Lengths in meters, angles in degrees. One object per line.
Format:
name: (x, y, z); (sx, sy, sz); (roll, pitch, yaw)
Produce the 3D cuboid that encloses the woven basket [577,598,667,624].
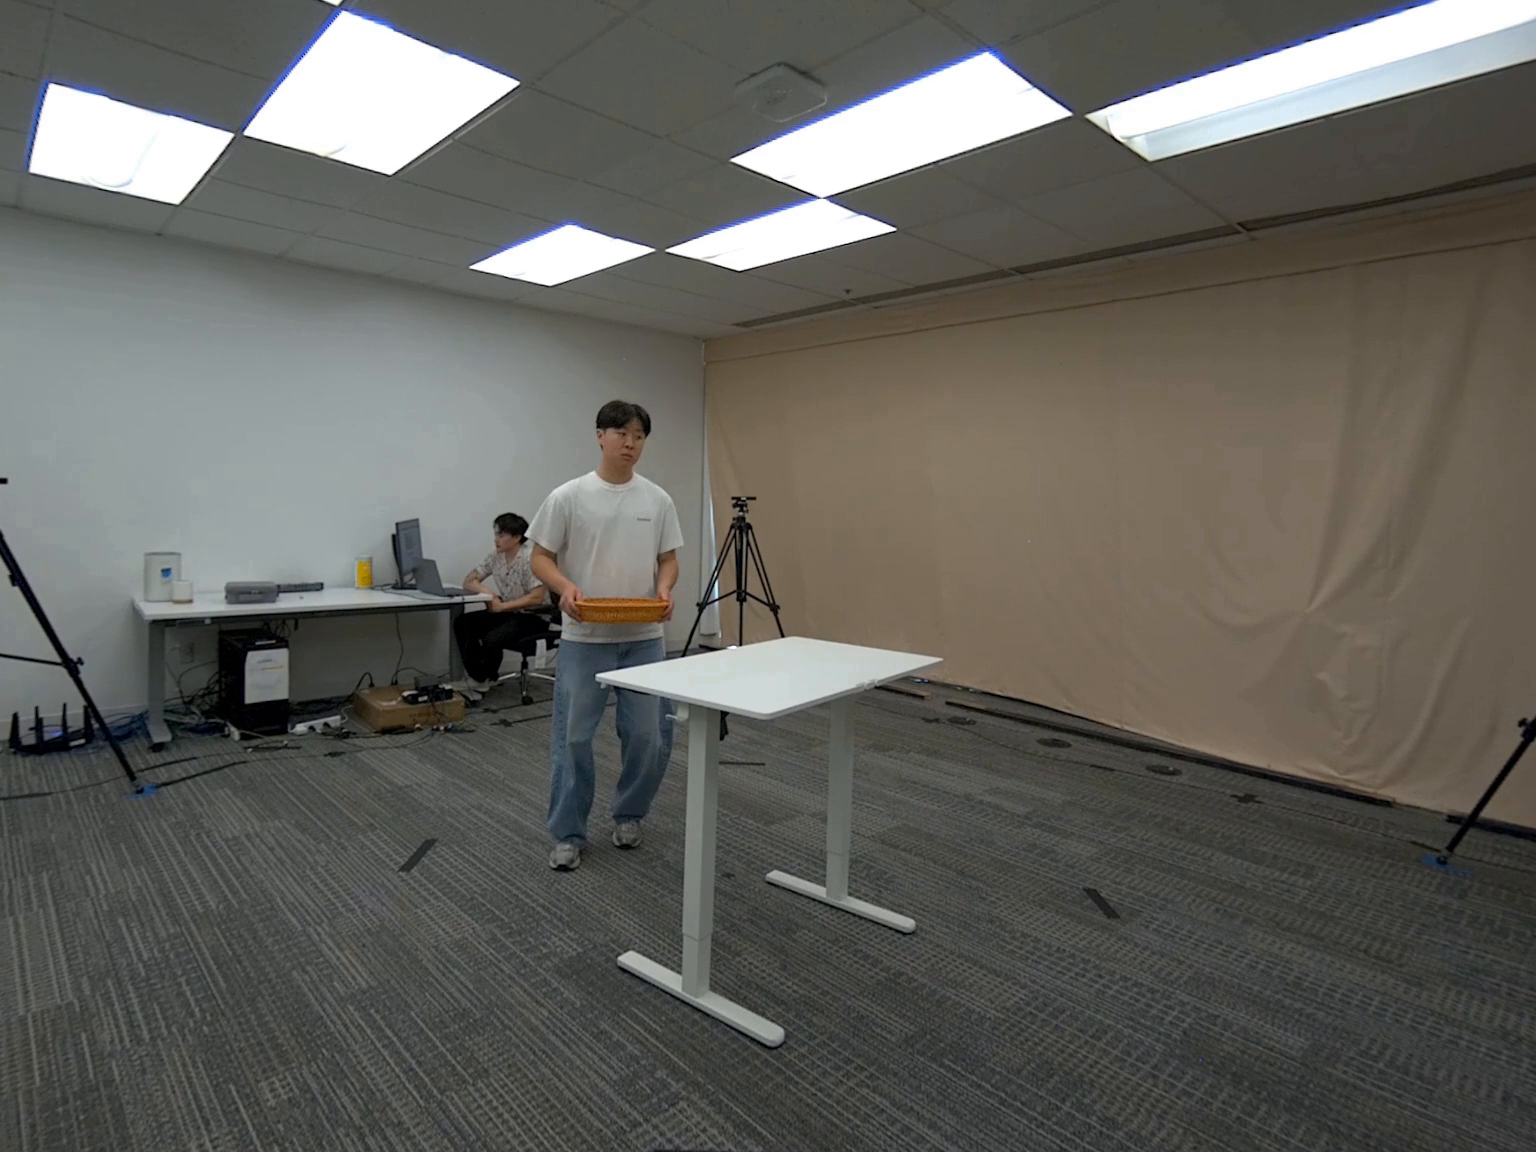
woven basket: (-0.537, 0.125, 3.042); (0.344, 0.073, 0.258); (-2, 6, -26)
